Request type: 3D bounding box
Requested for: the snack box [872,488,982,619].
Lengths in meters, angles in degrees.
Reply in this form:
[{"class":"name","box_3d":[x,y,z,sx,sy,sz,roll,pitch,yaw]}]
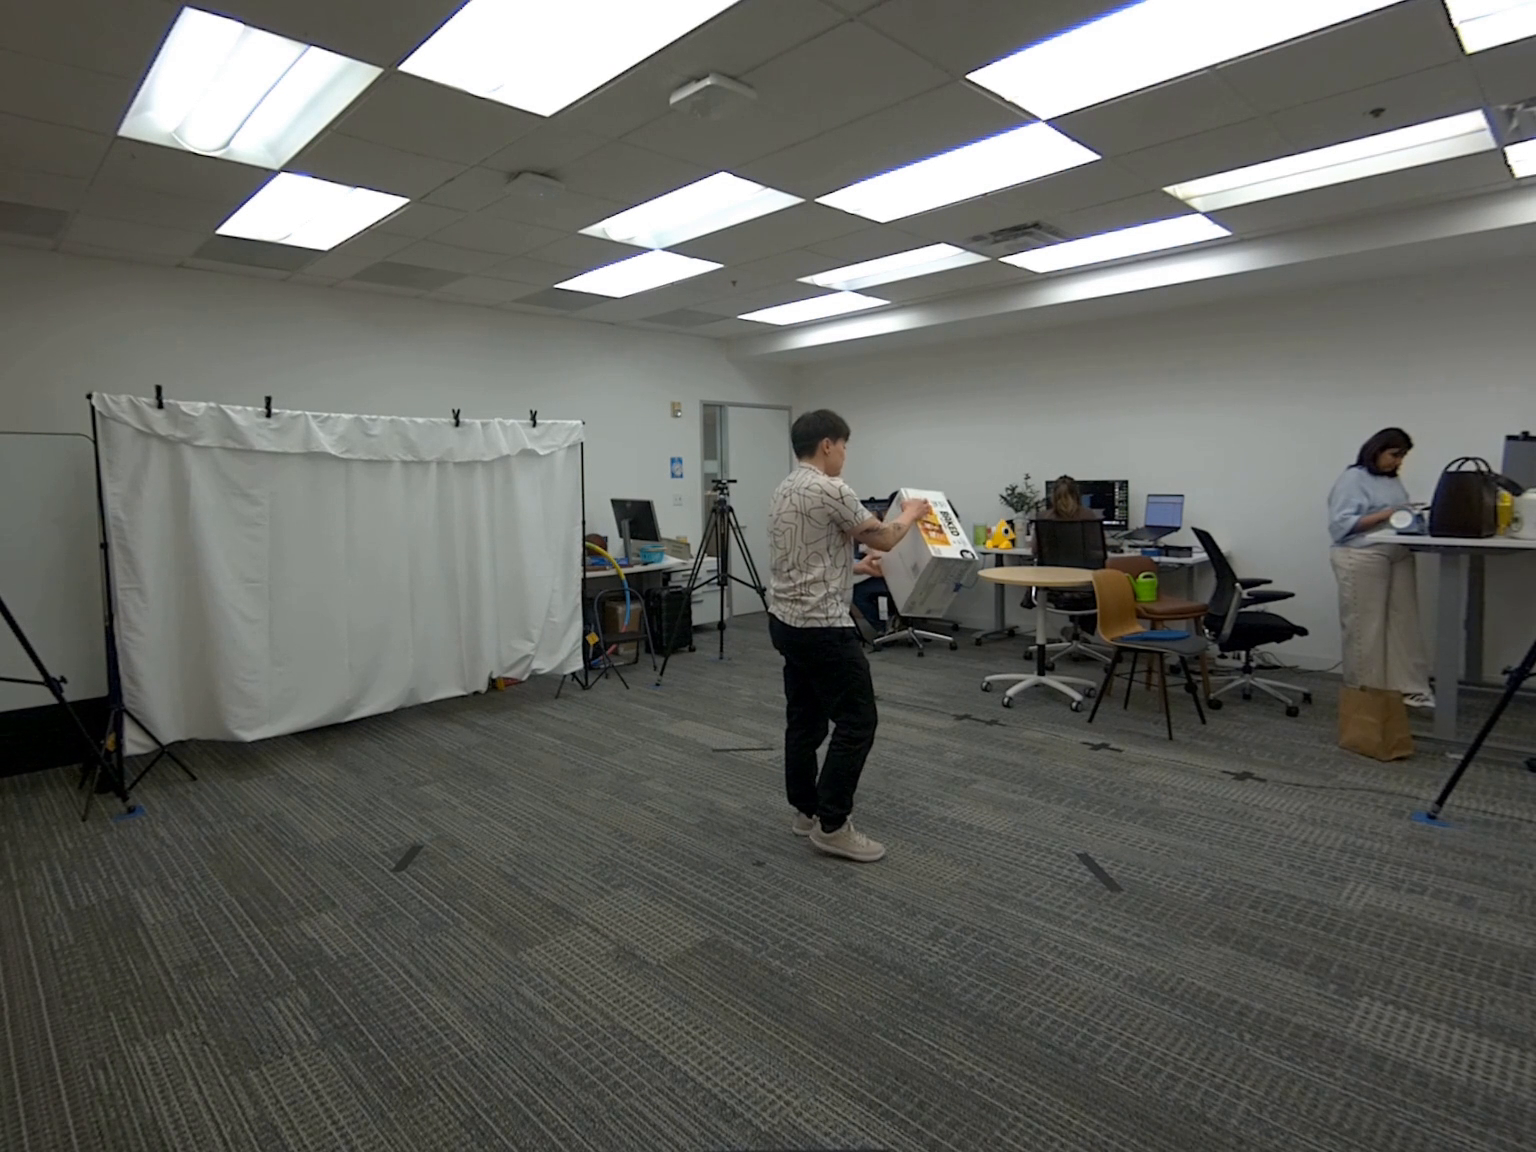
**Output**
[{"class":"snack box","box_3d":[0.635,-0.095,3.532,0.202,0.335,0.419,4,44,-20]}]
